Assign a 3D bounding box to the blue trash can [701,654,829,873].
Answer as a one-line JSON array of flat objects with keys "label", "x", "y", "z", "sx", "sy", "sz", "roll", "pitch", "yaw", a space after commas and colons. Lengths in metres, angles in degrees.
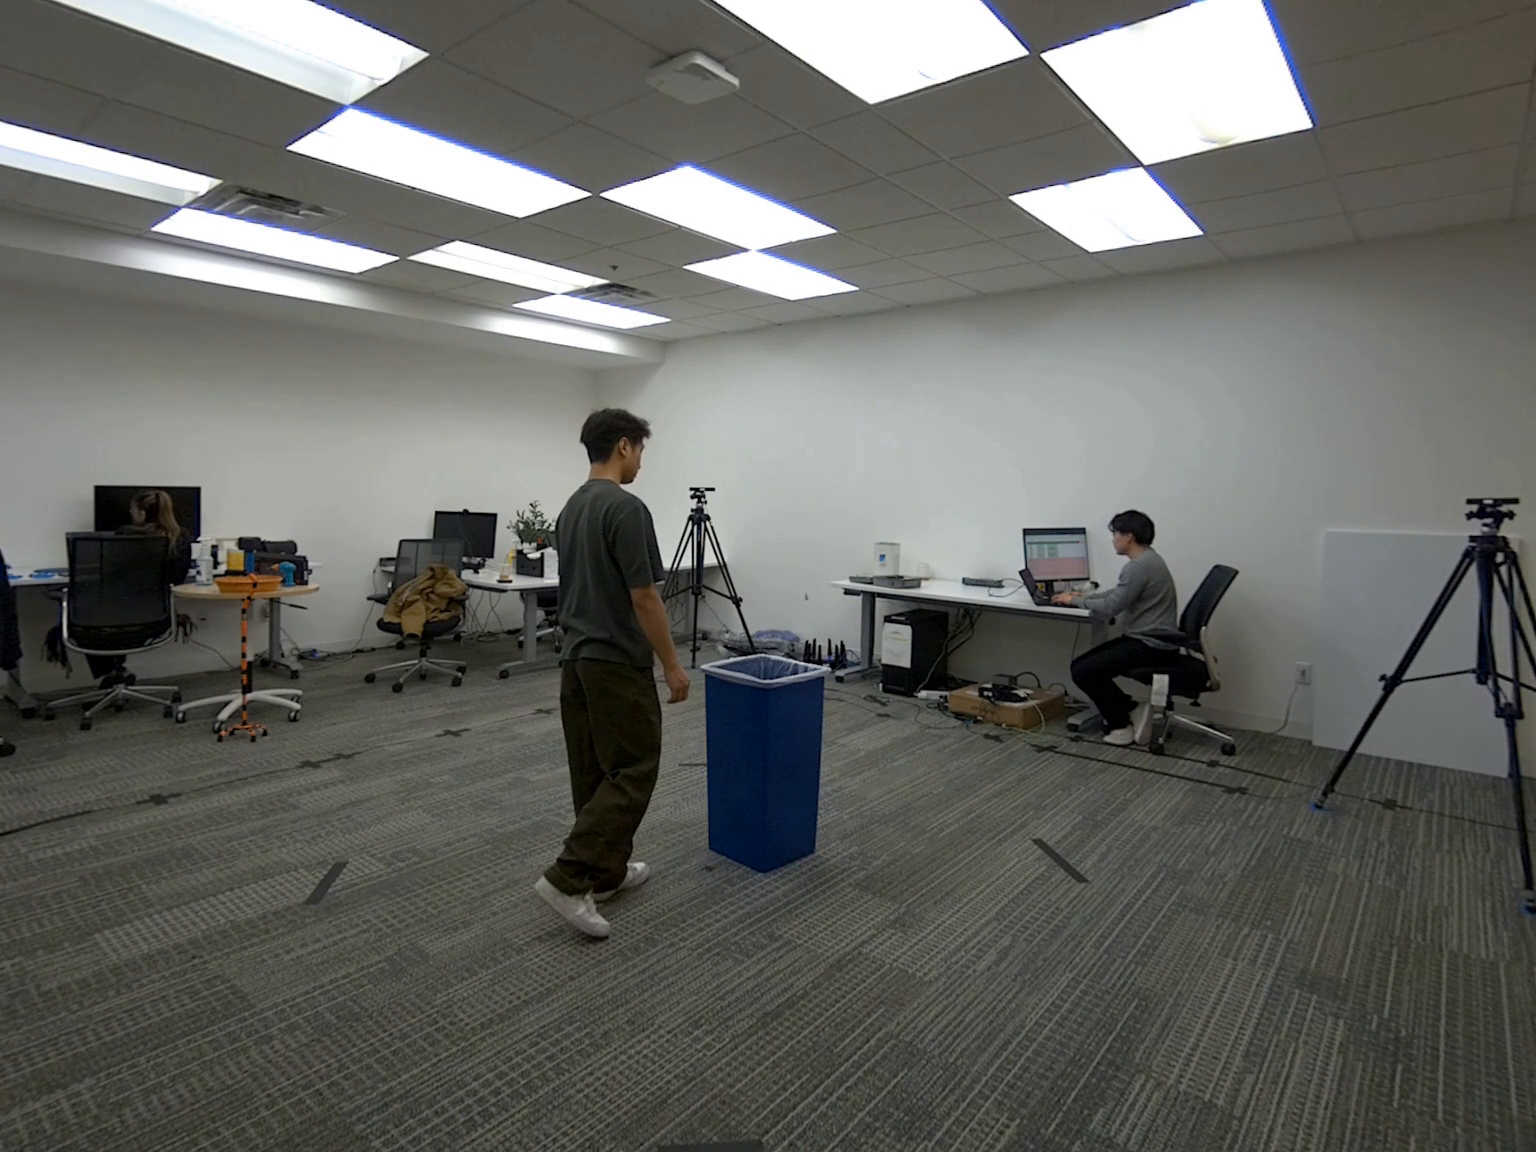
[{"label": "blue trash can", "x": -0.033, "y": 0.698, "z": 3.268, "sx": 0.387, "sy": 0.711, "sz": 0.367, "roll": 5, "pitch": 5, "yaw": 43}]
